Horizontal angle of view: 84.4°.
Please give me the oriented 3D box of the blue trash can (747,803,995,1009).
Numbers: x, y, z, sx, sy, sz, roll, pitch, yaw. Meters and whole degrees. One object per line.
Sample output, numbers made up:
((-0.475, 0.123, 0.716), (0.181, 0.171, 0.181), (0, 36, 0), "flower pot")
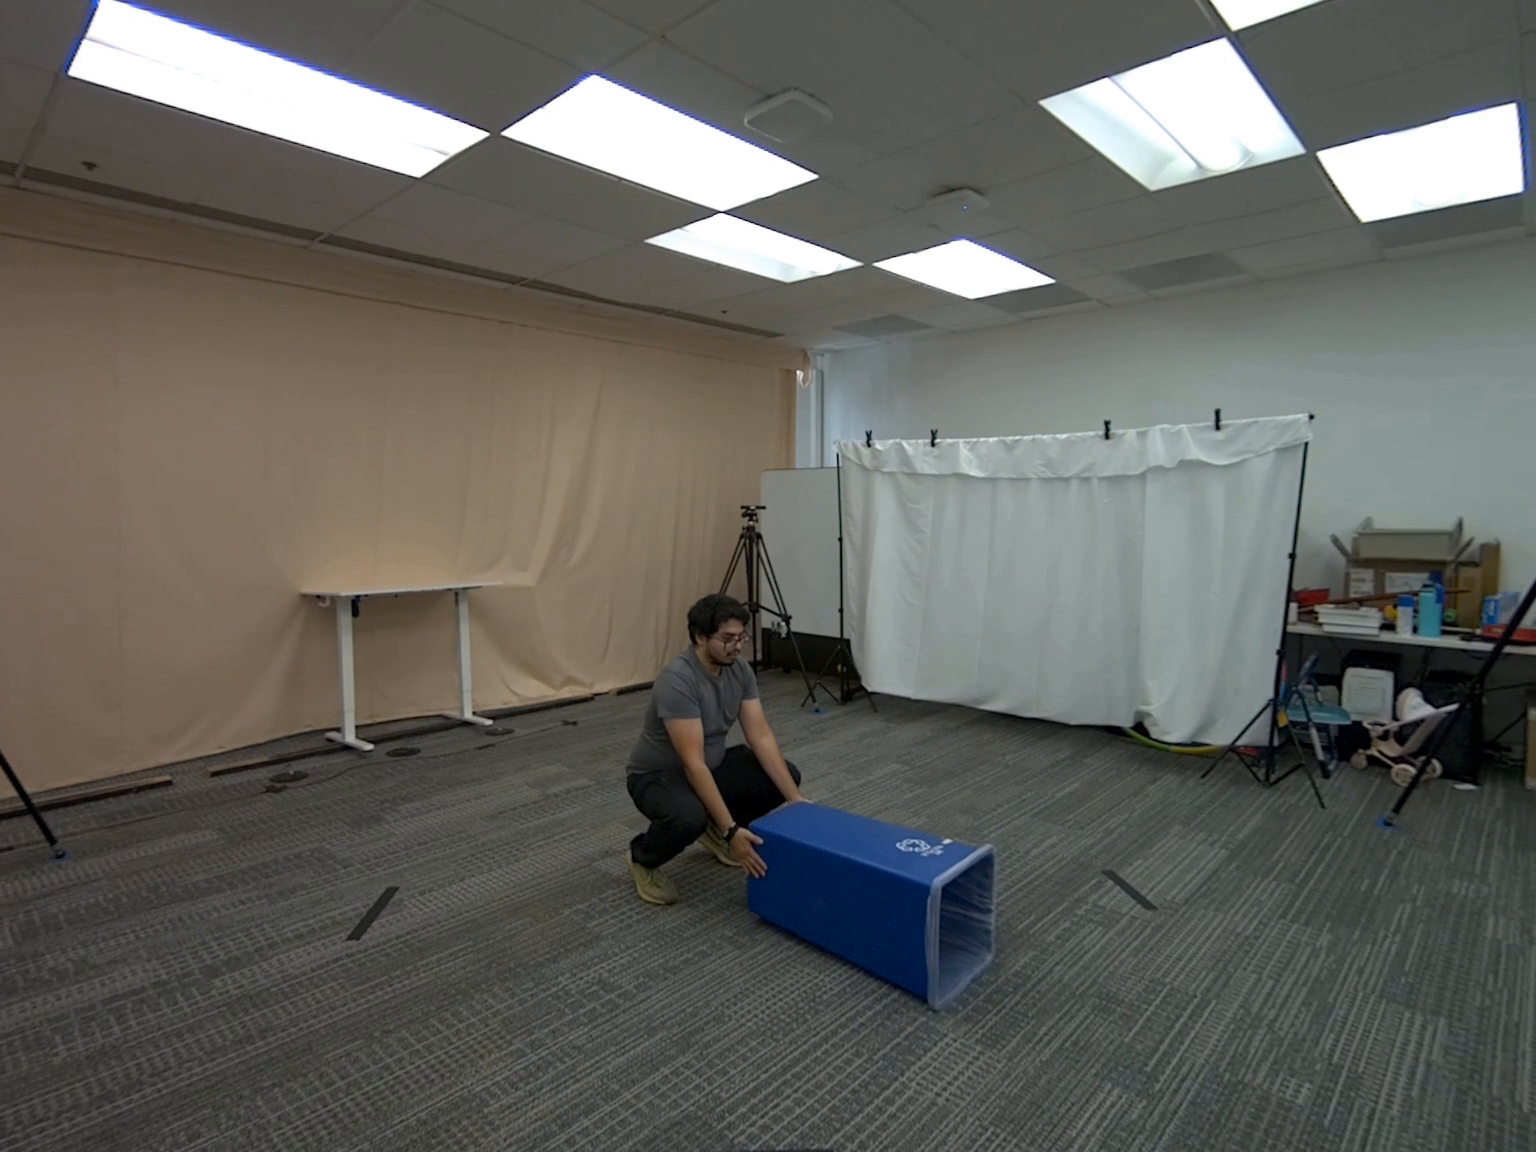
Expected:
((0.300, 0.987, 2.661), (0.737, 0.377, 0.363), (3, 6, 40), "blue trash can")
